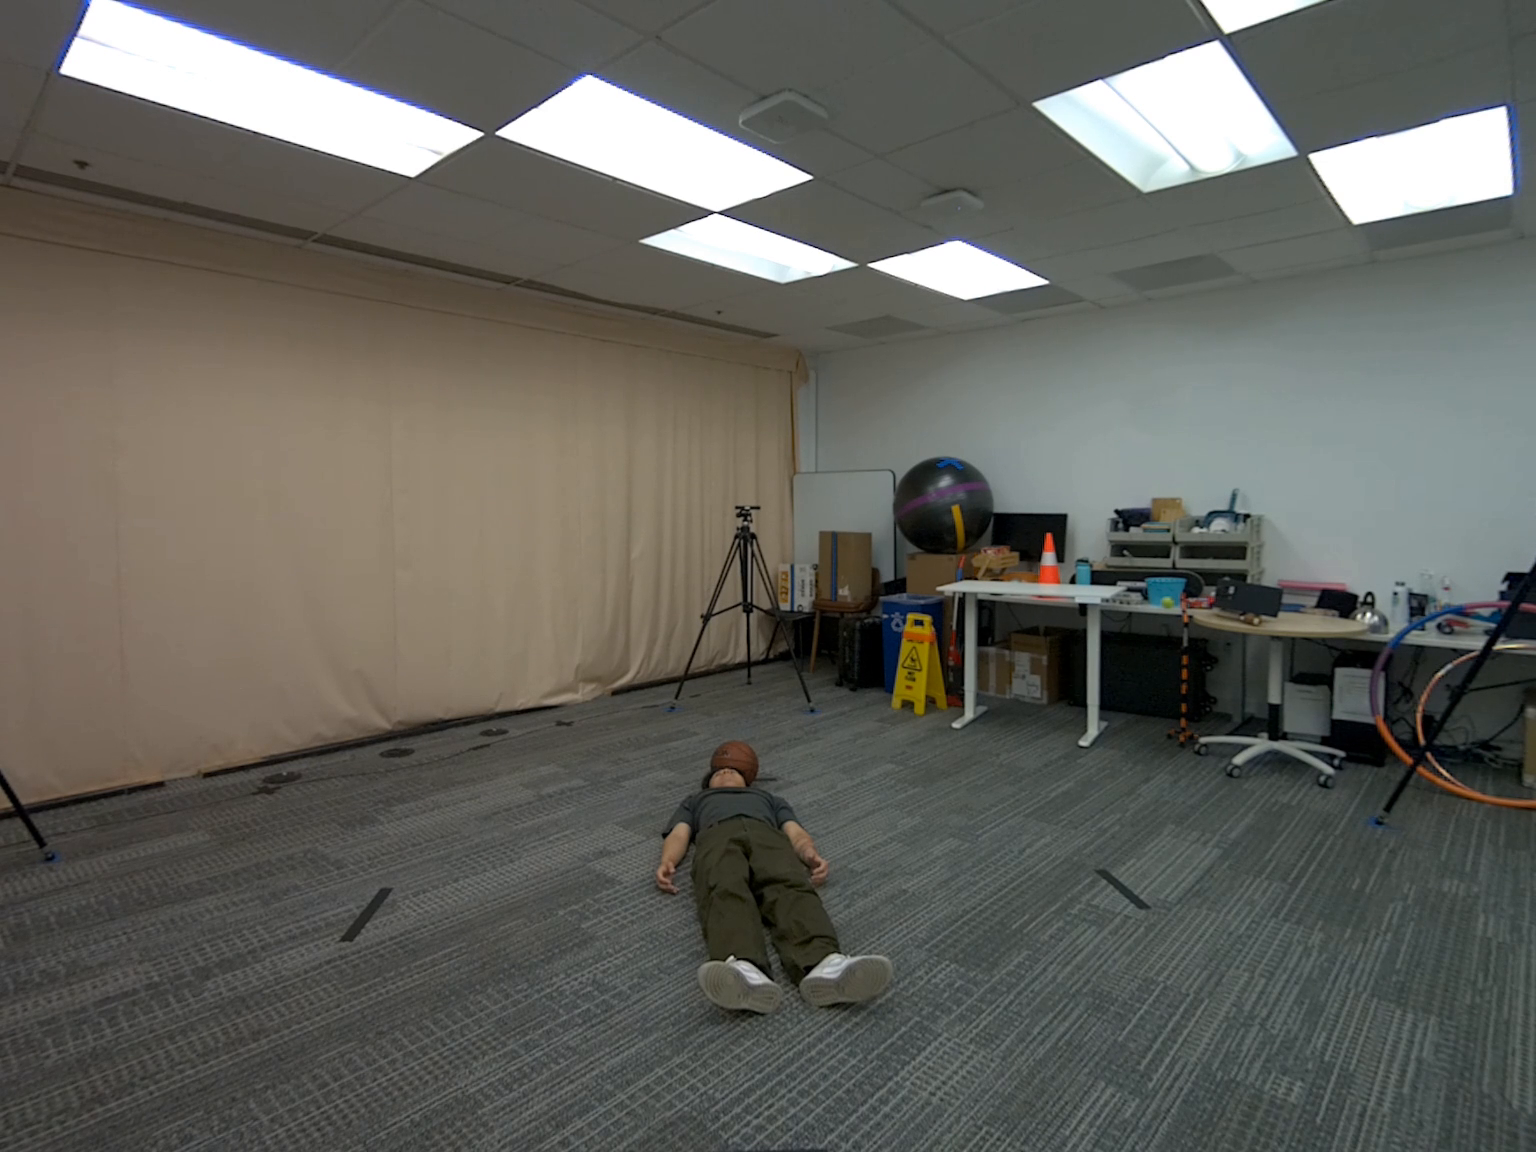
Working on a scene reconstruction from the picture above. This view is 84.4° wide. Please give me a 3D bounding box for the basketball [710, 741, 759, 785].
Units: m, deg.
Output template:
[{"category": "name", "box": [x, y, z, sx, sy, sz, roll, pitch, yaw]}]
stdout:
[{"category": "basketball", "box": [-0.166, 0.928, 4.148, 0.236, 0.235, 0.237, 0, 4, -2]}]
